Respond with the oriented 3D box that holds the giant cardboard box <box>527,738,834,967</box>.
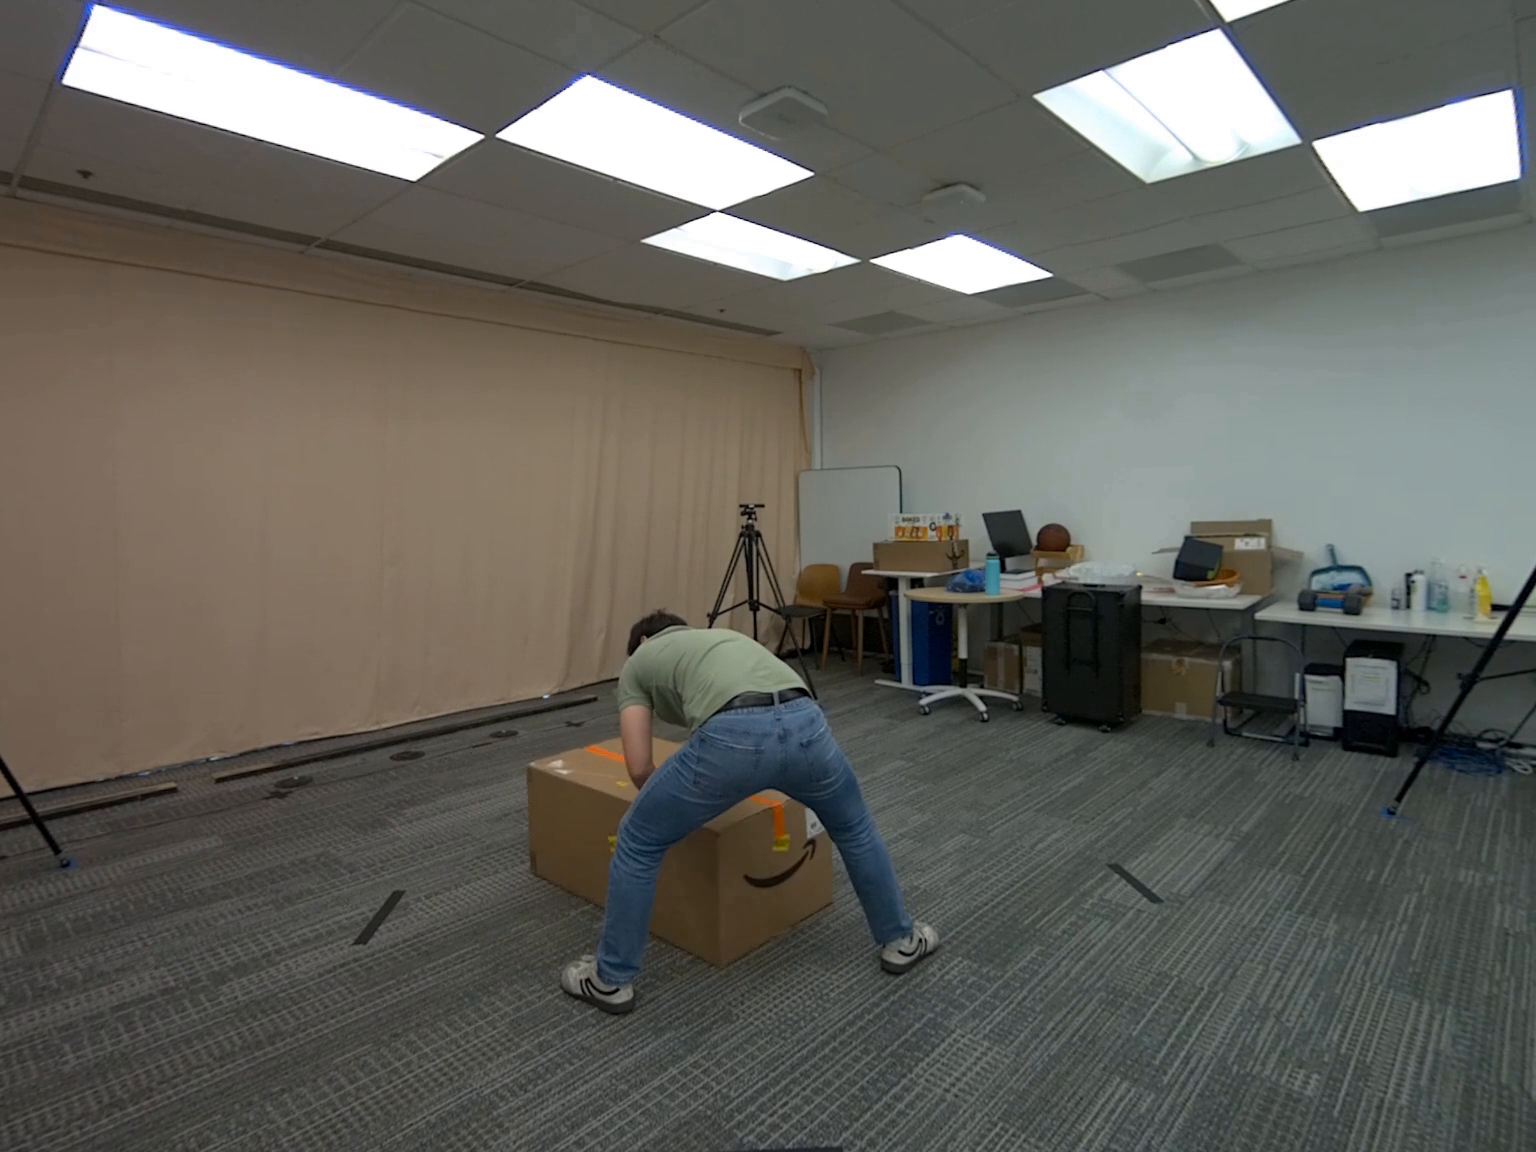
[{"bbox_3d":[-0.342,0.925,3.075,1.060,0.425,0.560,3,6,42],"label":"giant cardboard box"}]
